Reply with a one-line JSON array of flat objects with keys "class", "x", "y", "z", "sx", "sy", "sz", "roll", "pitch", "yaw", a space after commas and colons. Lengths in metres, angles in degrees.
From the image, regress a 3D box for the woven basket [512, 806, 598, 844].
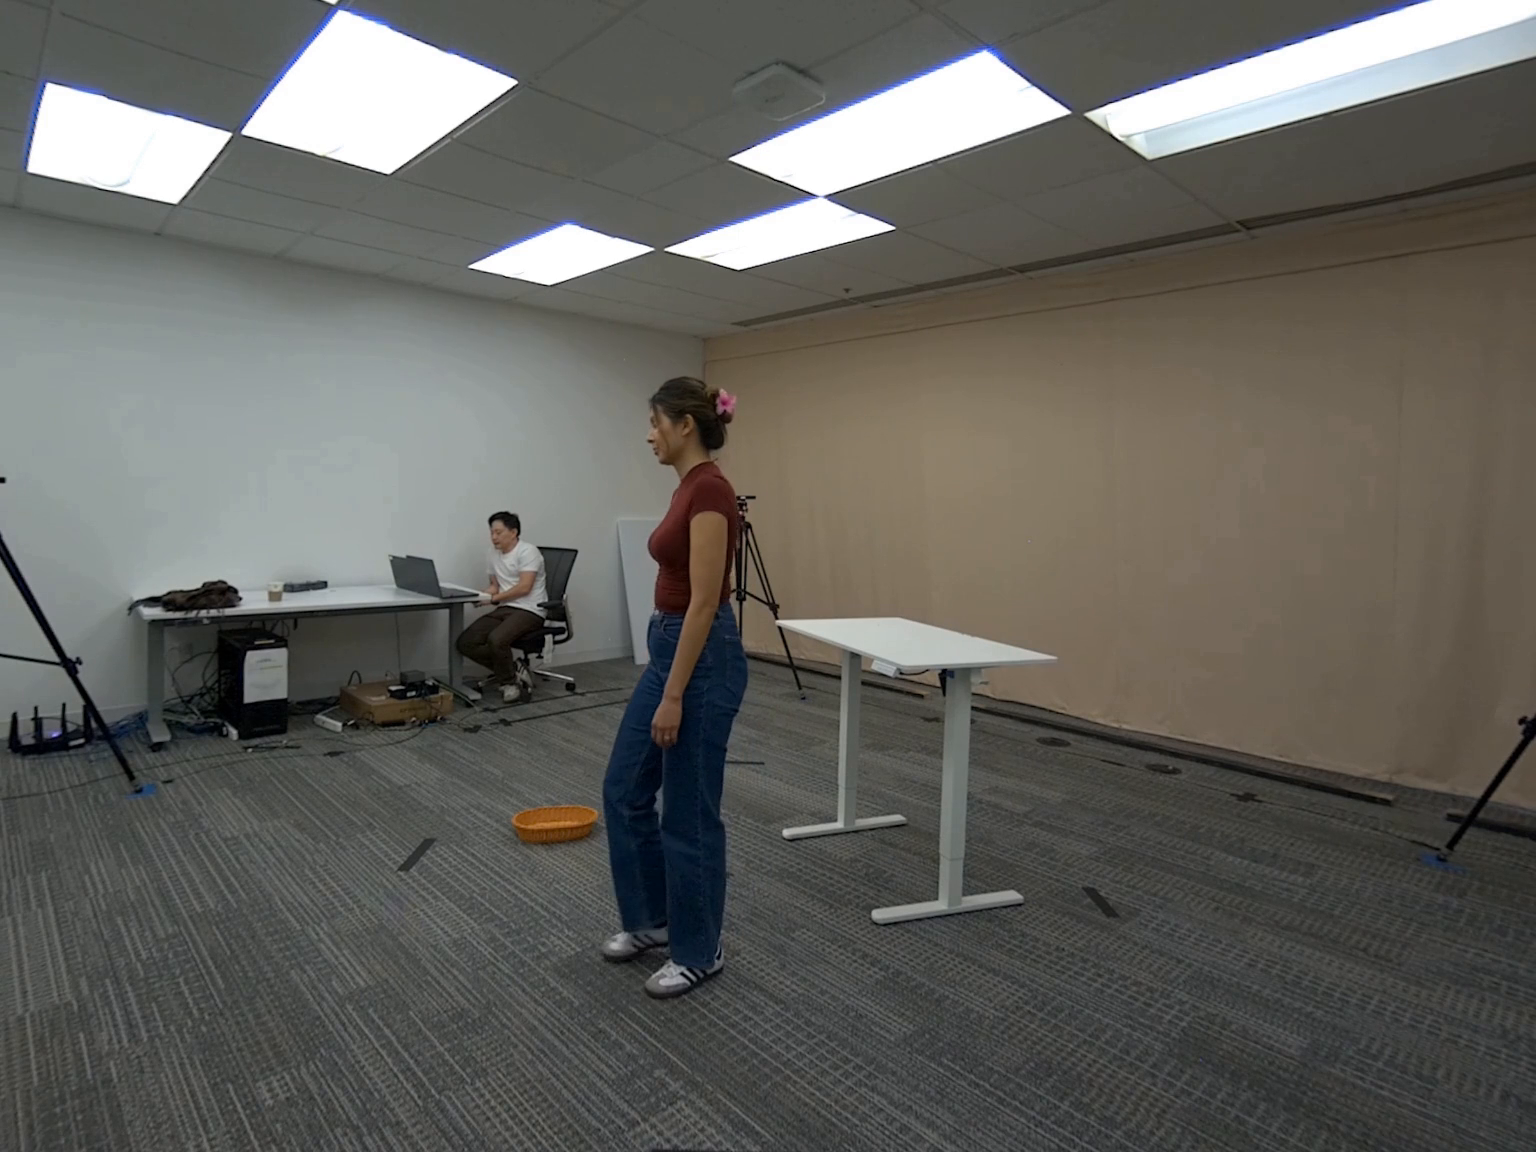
[{"class": "woven basket", "x": -0.881, "y": 1.019, "z": 3.446, "sx": 0.346, "sy": 0.073, "sz": 0.256, "roll": 0, "pitch": 5, "yaw": -15}]
